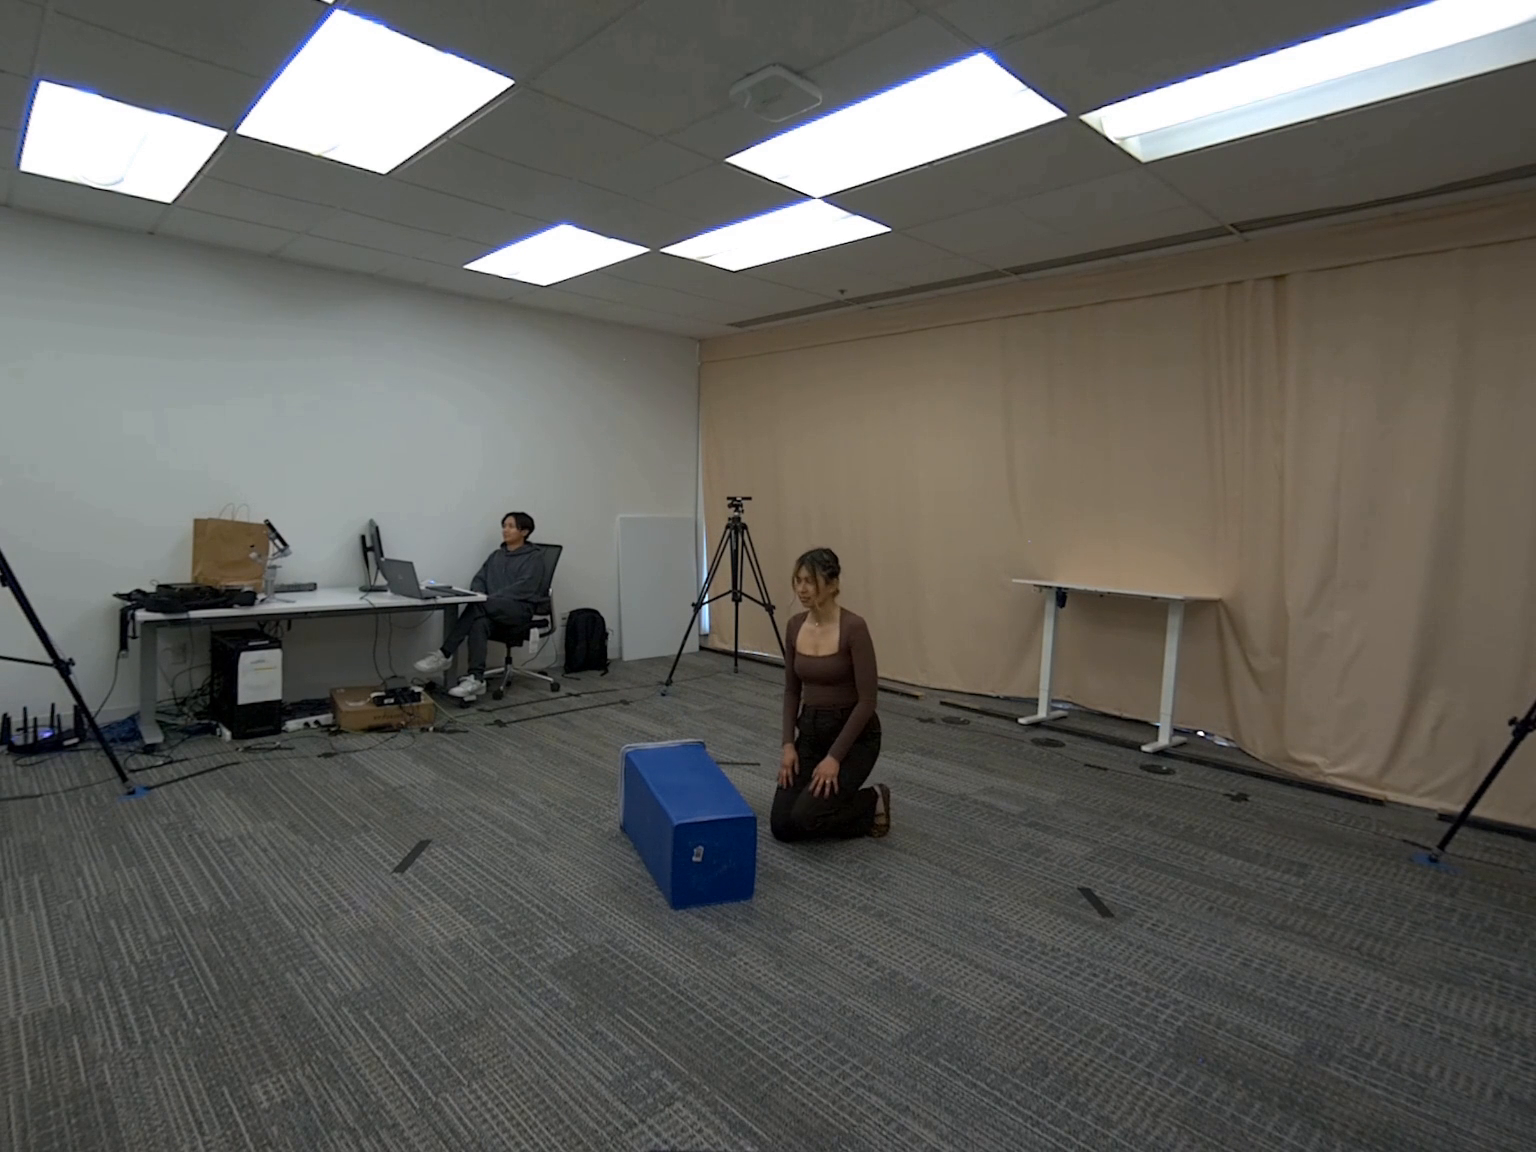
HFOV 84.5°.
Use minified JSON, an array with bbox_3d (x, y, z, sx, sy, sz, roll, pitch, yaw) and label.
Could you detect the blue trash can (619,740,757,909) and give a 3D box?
[{"bbox_3d":[-0.325,0.922,3.194,0.368,0.377,0.727,1,6,-21],"label":"blue trash can"}]
